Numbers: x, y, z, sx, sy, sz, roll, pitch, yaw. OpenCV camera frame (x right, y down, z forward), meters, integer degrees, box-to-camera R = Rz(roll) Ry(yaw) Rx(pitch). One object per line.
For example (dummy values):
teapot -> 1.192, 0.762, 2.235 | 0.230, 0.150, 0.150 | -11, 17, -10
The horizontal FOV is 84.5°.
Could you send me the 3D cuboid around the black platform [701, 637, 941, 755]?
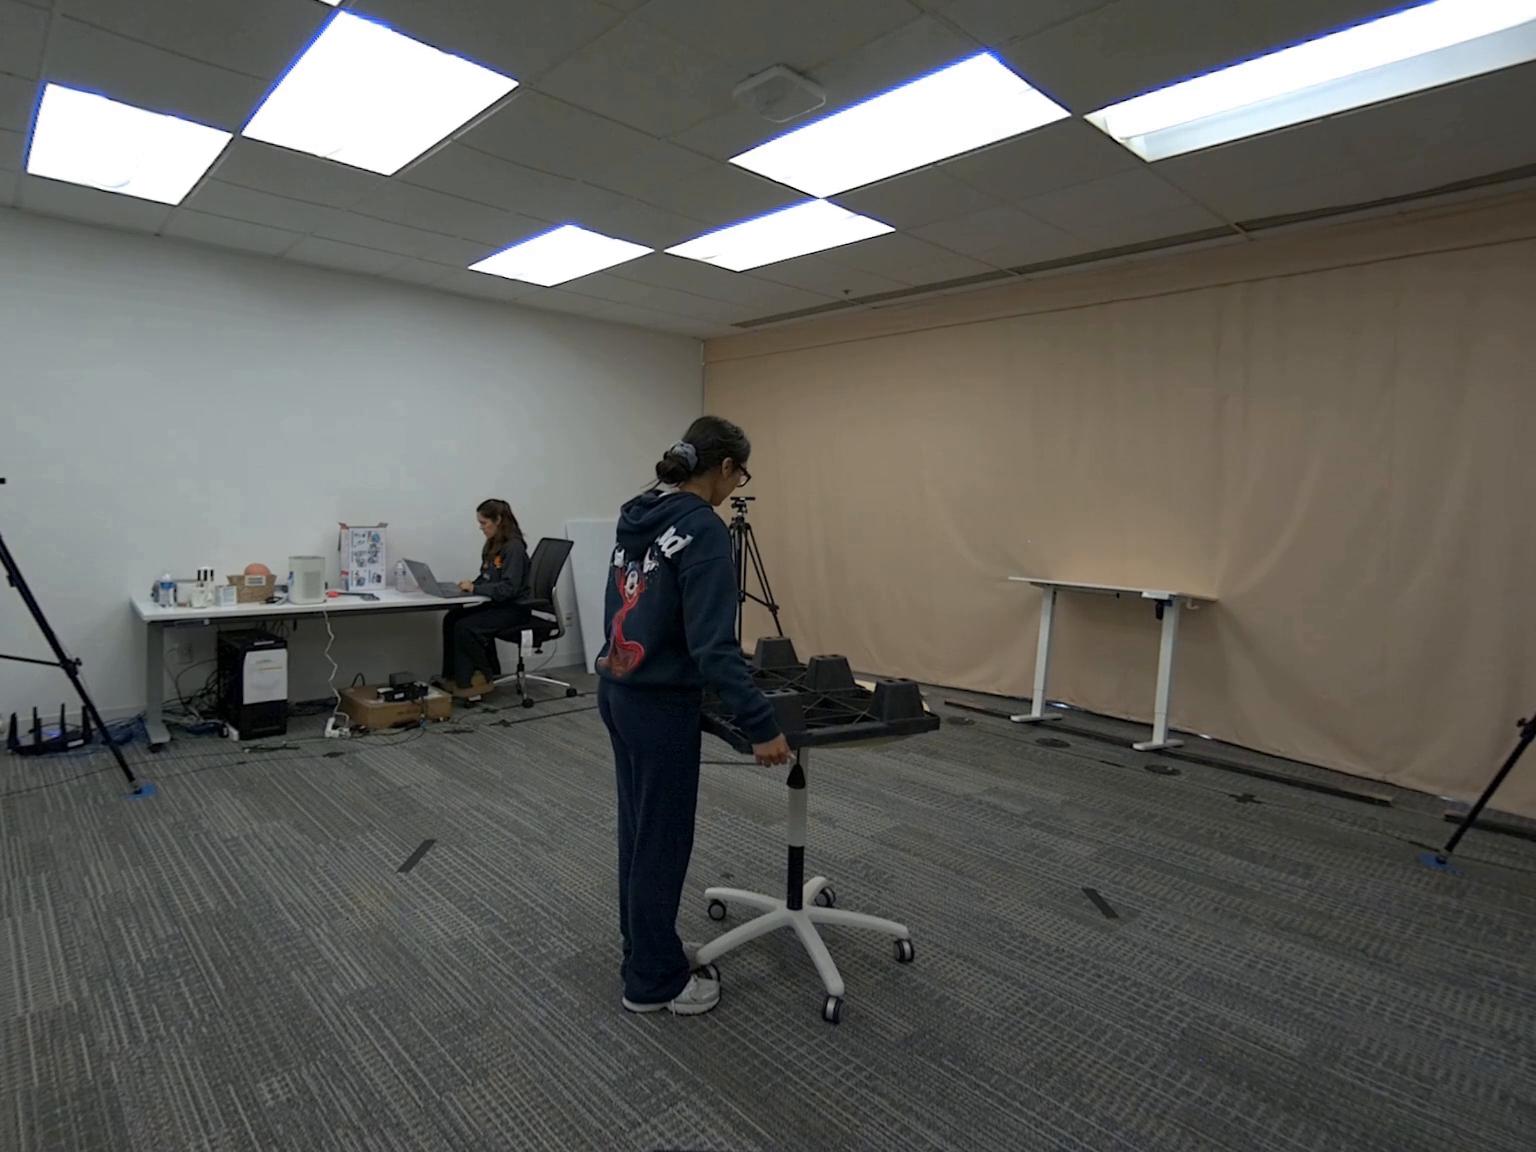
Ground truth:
black platform -> 0.029, 0.321, 2.500 | 0.594, 0.143, 0.823 | -2, 6, -27
